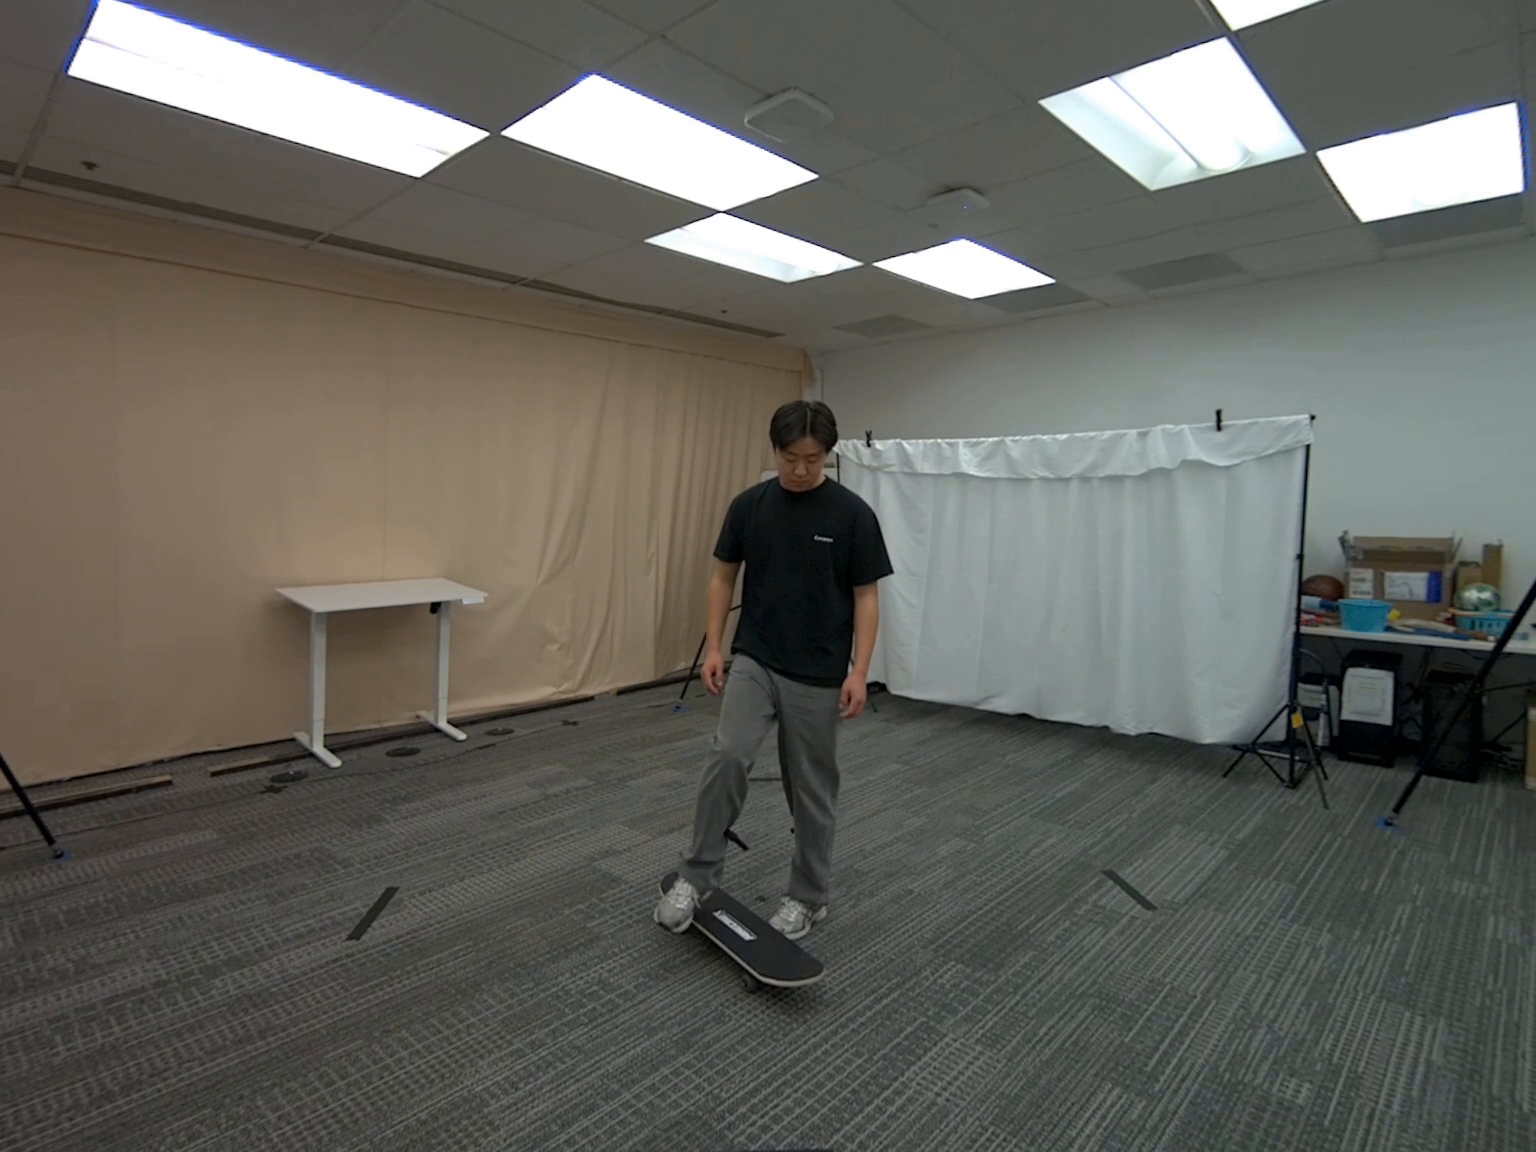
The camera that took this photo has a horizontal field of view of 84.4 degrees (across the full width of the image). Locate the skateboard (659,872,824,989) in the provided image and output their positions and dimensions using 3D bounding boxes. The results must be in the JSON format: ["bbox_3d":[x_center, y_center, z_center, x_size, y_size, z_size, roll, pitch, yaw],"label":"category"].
[{"bbox_3d":[-0.104,1.120,2.617,0.188,0.110,0.810,-4,6,-33],"label":"skateboard"}]
